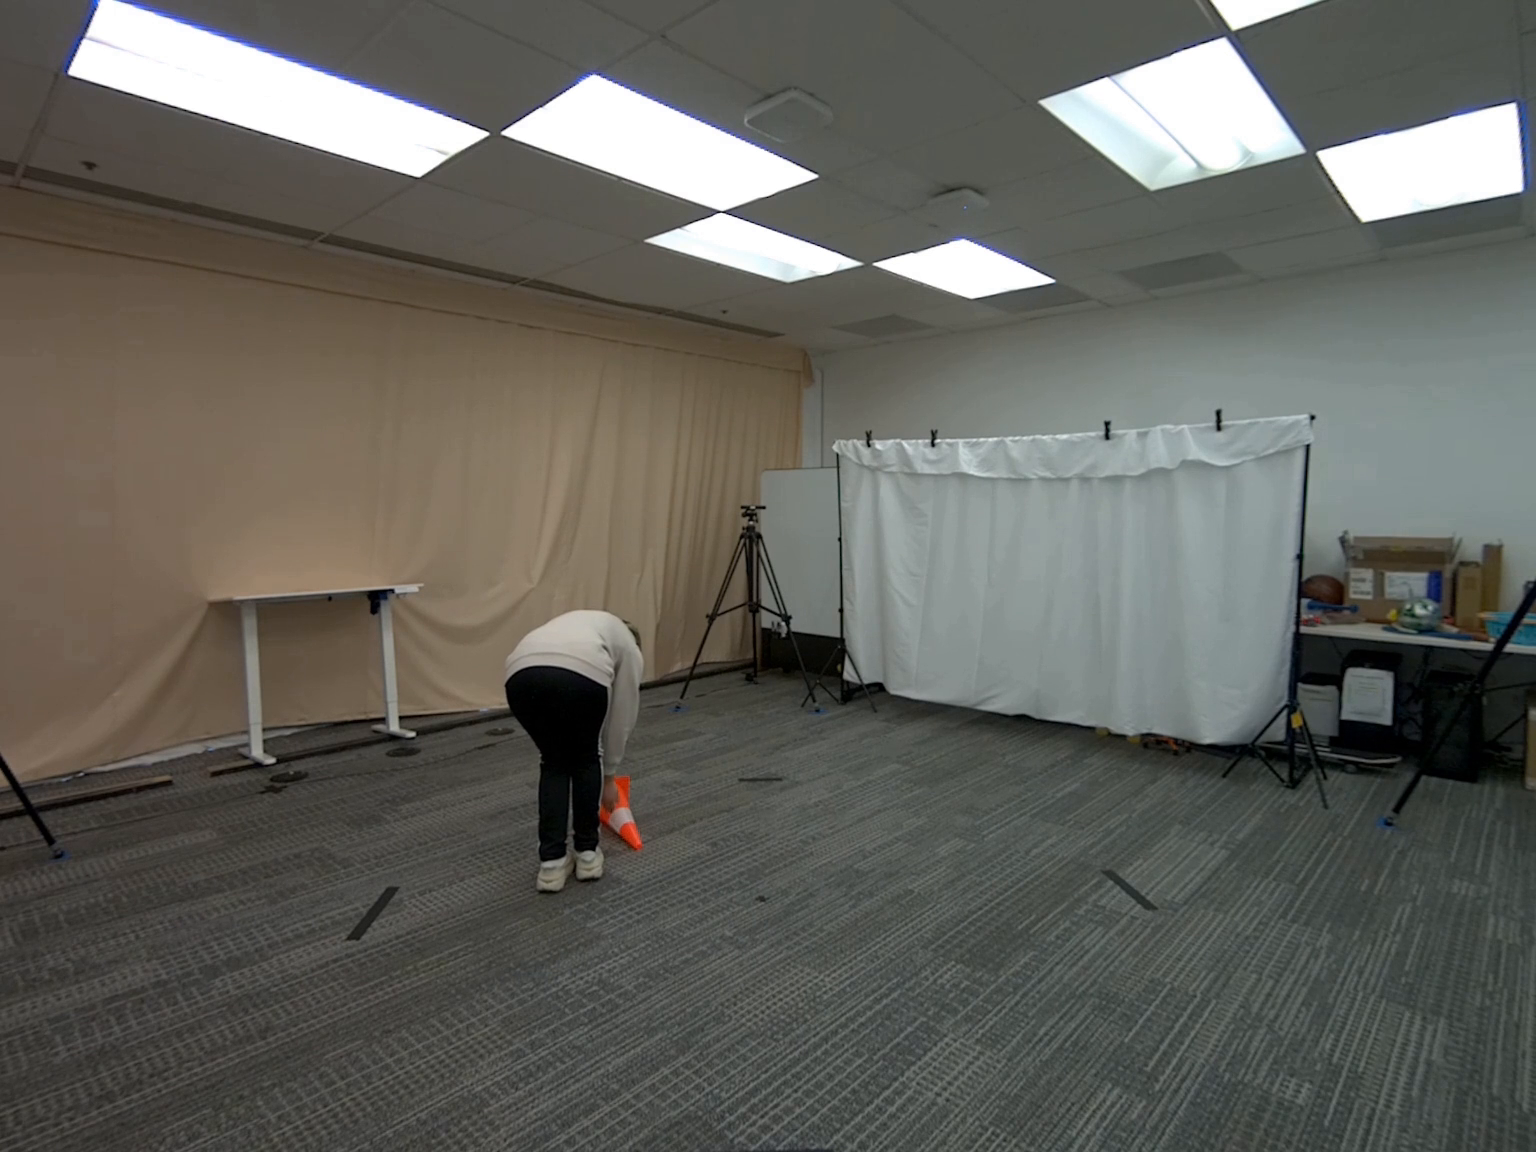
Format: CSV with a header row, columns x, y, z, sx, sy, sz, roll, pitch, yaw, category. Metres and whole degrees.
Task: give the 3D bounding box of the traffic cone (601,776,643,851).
x,y,z,sx,sy,sz,roll,pitch,yaw,category
-0.619,1.043,3.580,0.197,0.204,0.397,7,13,-32,traffic cone
